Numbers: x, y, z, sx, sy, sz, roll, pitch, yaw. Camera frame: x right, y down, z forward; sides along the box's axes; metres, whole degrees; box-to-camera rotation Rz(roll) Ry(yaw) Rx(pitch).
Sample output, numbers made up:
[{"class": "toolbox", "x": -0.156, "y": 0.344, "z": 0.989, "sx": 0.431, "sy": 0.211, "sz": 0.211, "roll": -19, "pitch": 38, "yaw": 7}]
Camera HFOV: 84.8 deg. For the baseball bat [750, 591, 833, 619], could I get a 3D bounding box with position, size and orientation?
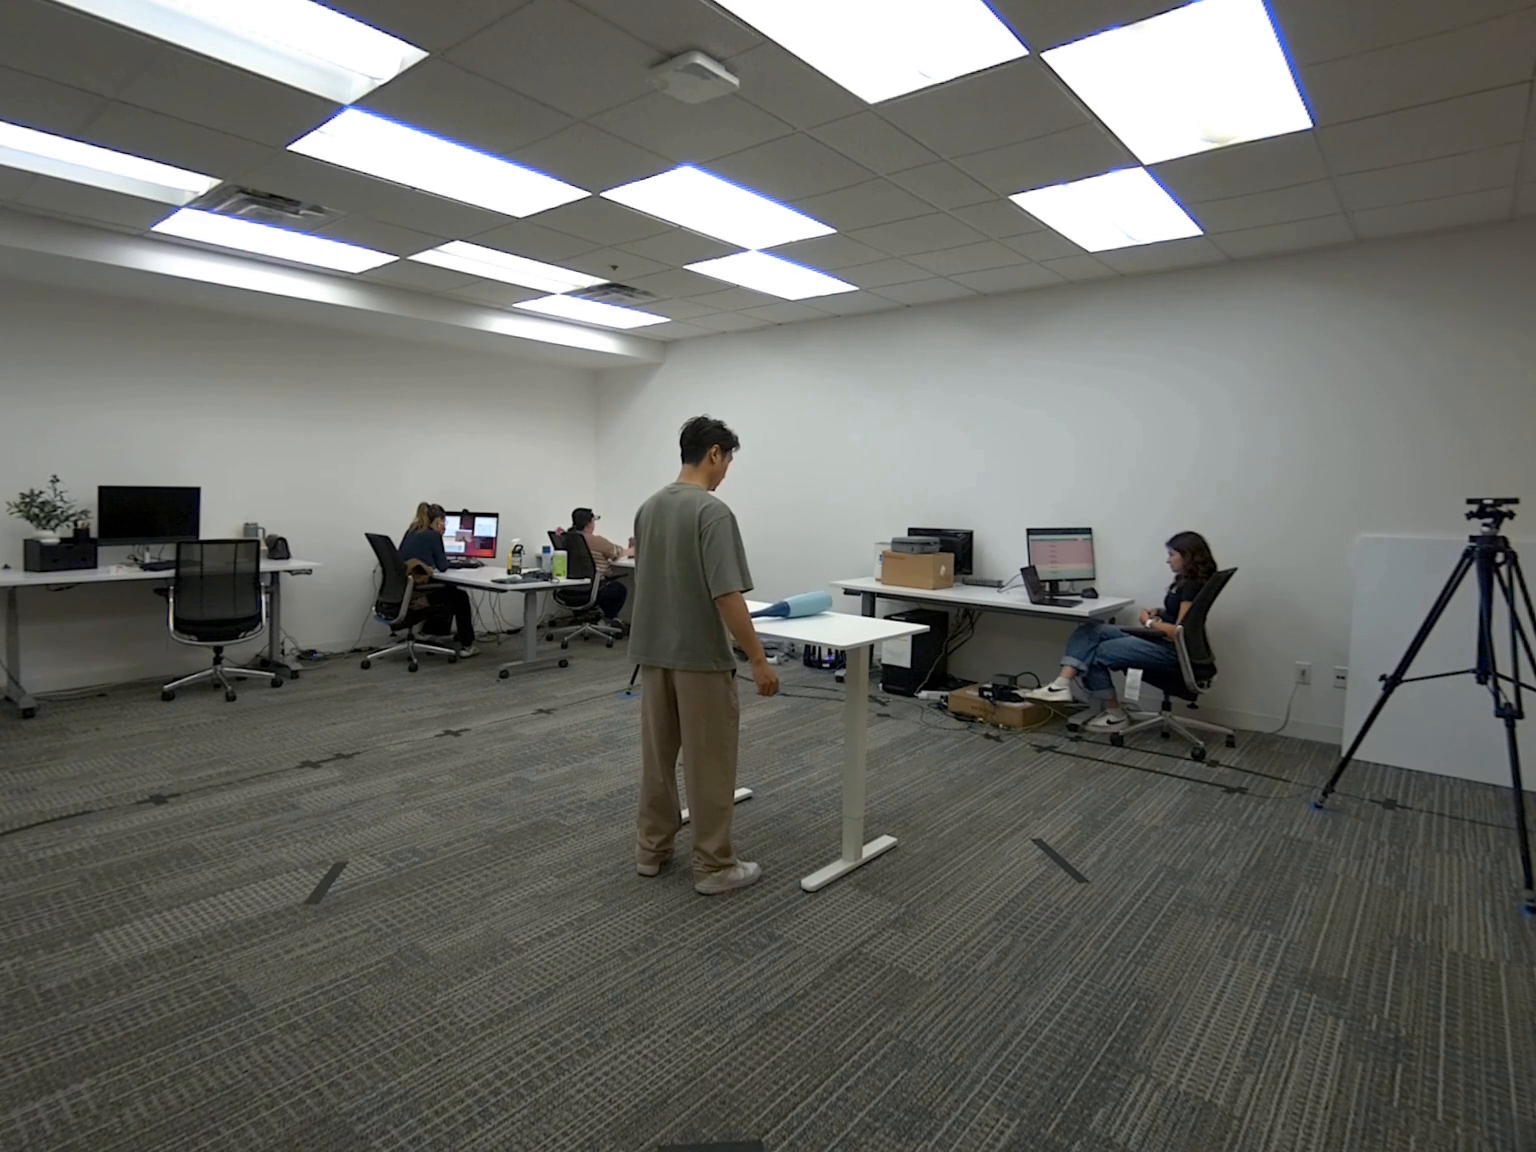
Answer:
[{"class": "baseball bat", "x": 0.041, "y": 0.134, "z": 3.338, "sx": 0.528, "sy": 0.088, "sz": 0.092, "roll": -10, "pitch": 10, "yaw": -42}]
